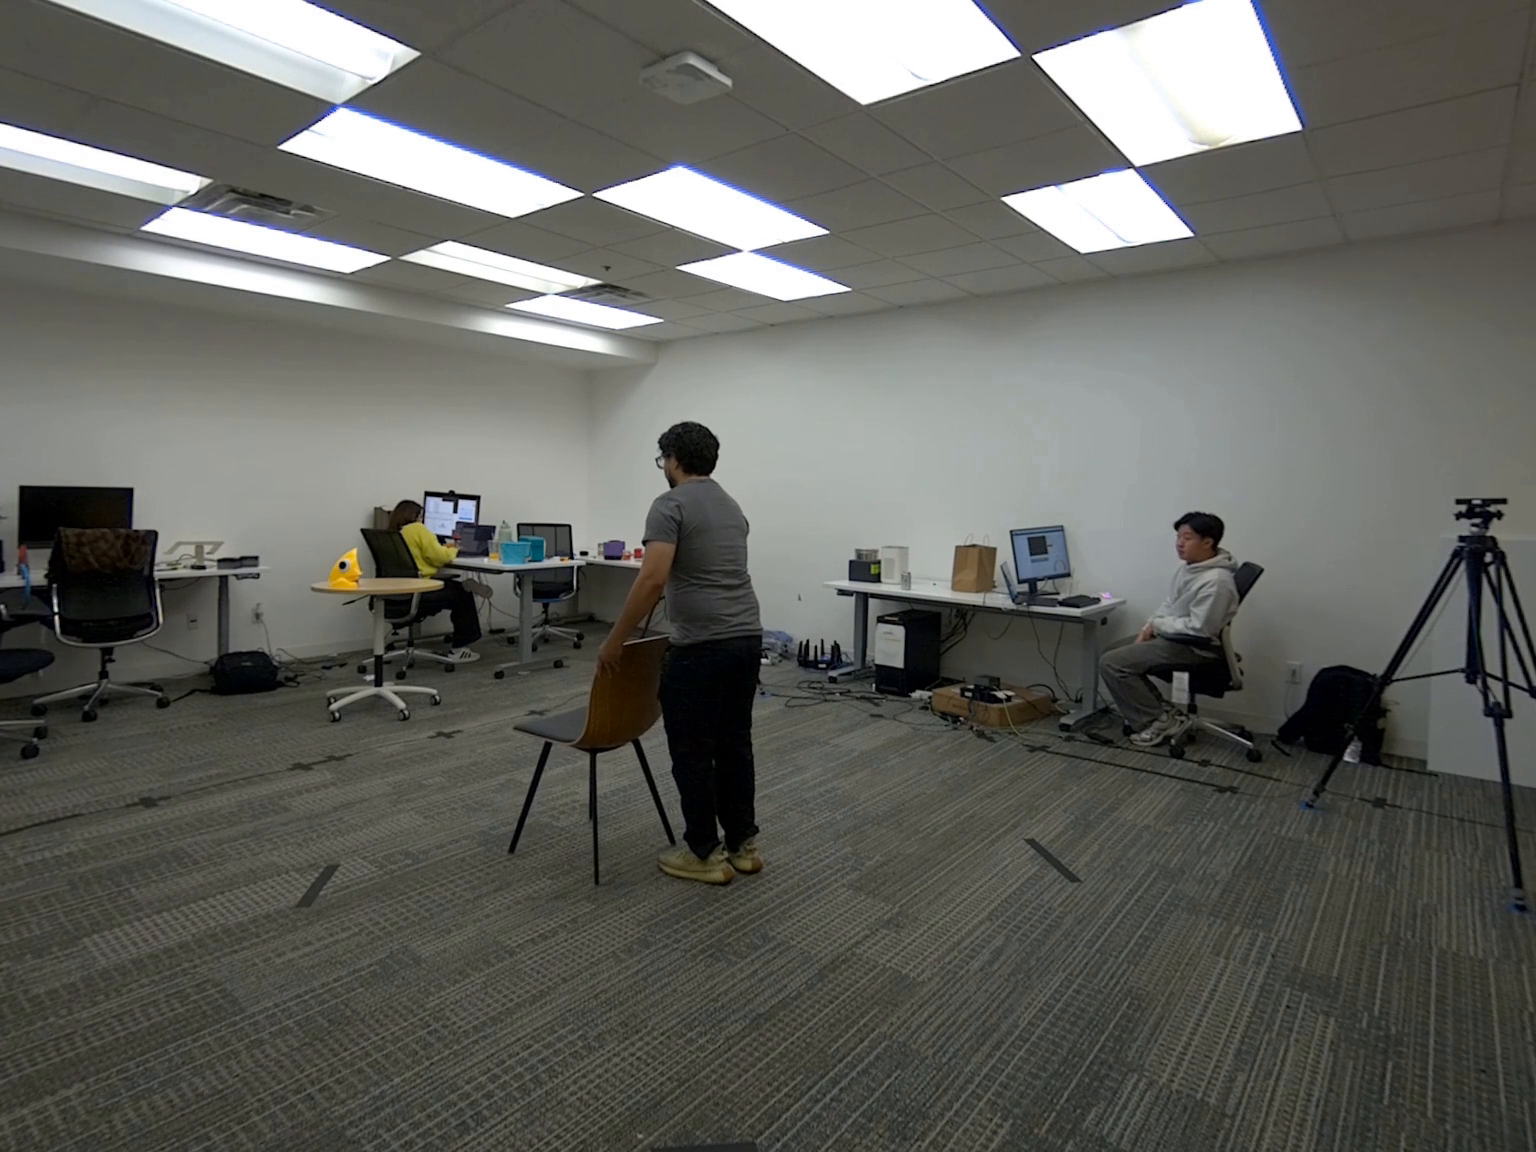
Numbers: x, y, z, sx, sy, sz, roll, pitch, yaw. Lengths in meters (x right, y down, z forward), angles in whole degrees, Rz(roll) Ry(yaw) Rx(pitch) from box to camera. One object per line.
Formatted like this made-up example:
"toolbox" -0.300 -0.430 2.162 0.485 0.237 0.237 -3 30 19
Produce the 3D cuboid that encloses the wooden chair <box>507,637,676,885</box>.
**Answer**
"wooden chair" -0.681 0.616 3.250 0.540 0.873 0.465 9 7 33
